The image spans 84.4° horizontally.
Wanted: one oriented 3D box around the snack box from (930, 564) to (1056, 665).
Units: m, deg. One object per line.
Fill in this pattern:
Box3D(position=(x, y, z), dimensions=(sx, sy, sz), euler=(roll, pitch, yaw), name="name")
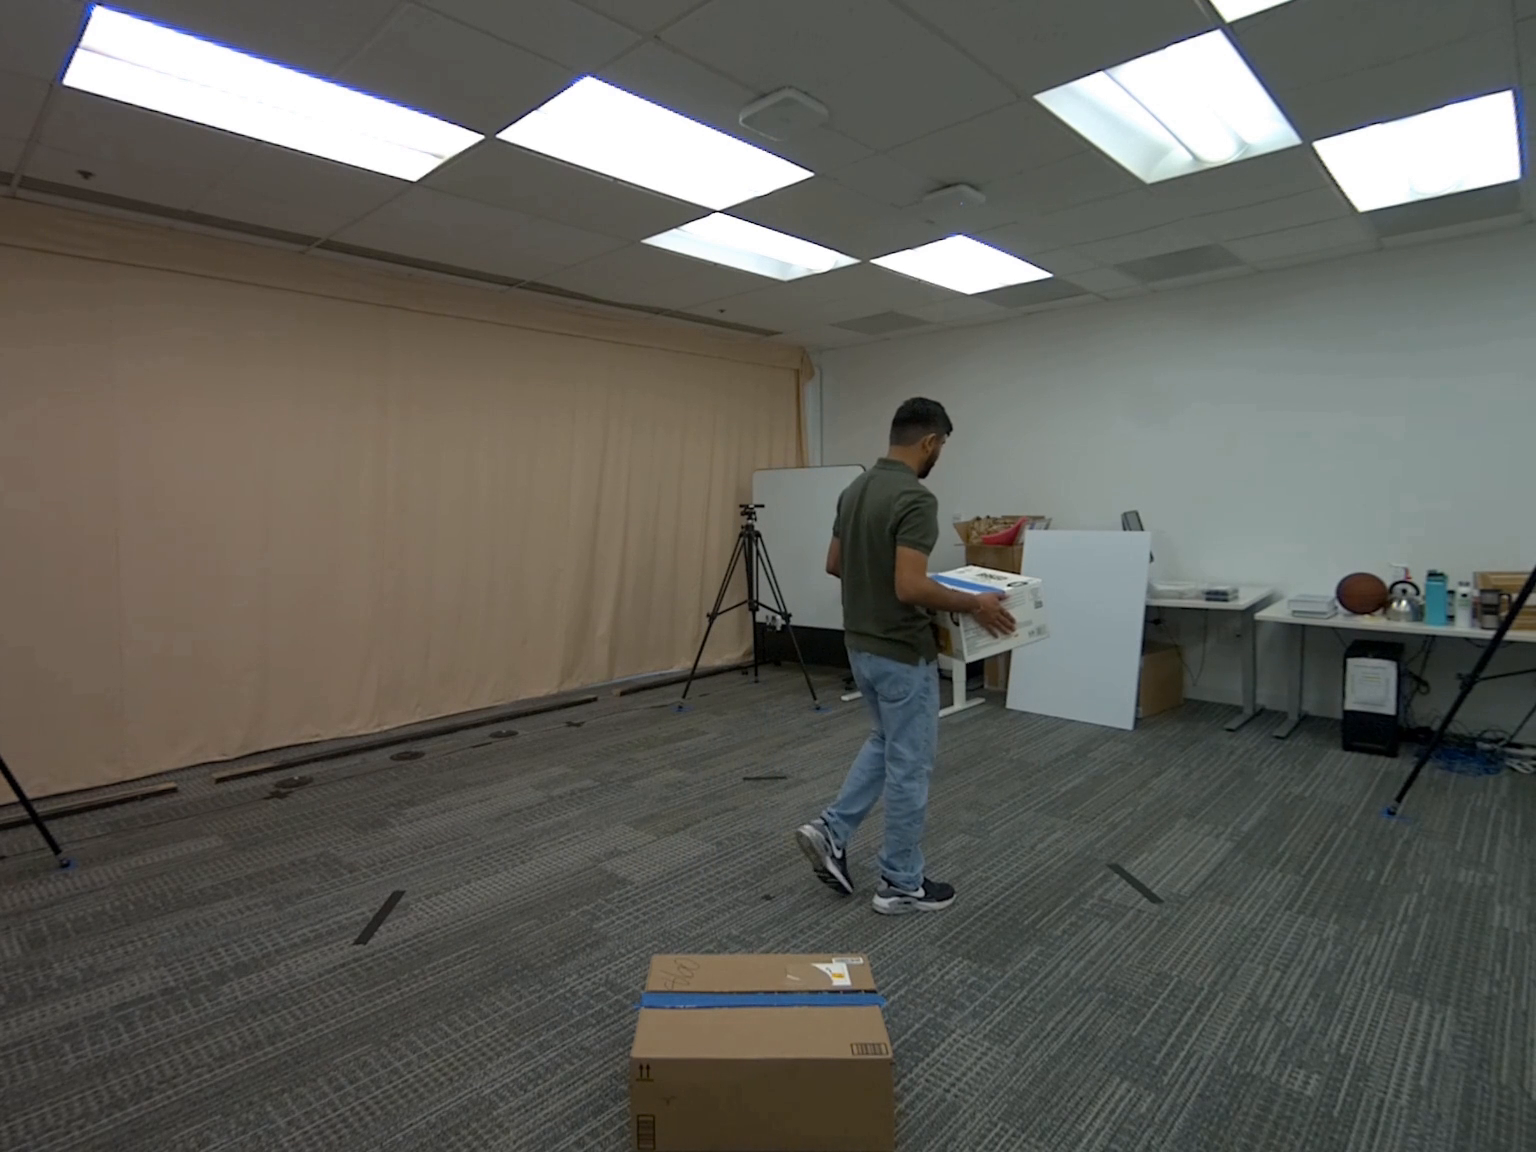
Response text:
Box3D(position=(0.708, 0.120, 2.949), dimensions=(0.335, 0.204, 0.415), euler=(-14, 12, -19), name="snack box")
